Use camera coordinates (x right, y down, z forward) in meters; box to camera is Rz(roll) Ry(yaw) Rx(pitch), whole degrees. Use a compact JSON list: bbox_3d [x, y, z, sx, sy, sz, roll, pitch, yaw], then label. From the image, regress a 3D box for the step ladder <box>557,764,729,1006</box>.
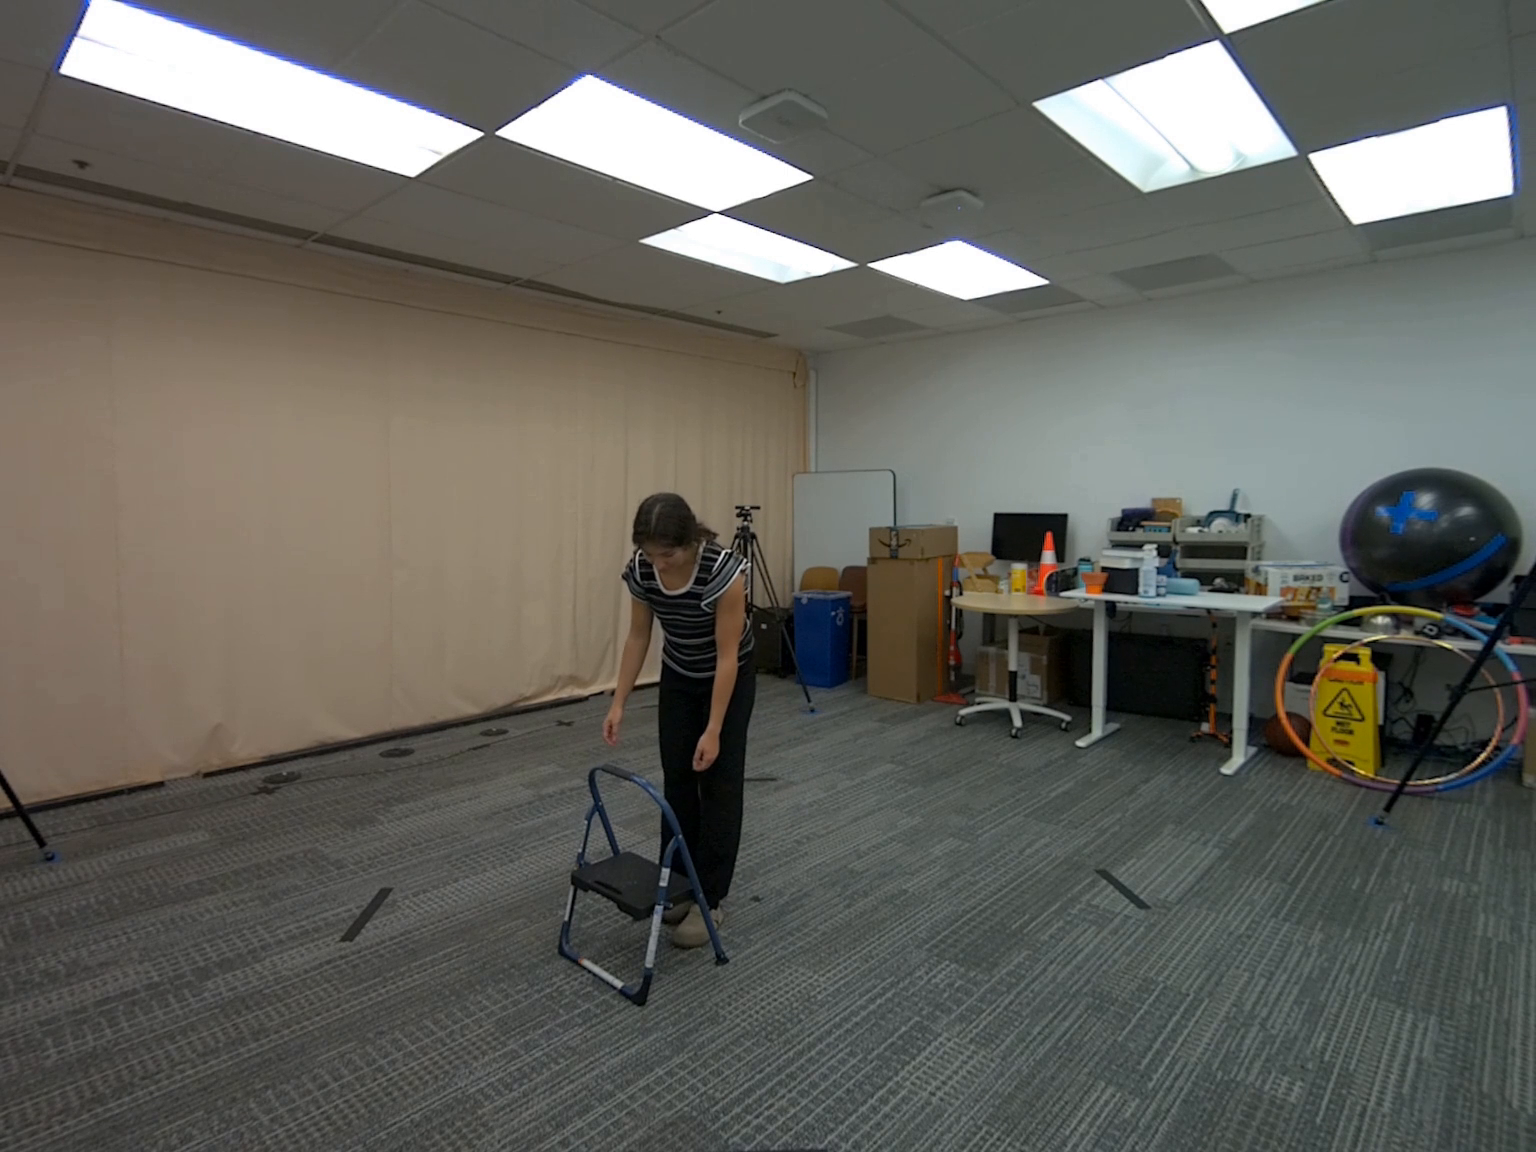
[{"bbox_3d":[-0.391,0.878,2.587,0.445,0.605,0.338,3,4,43],"label":"step ladder"}]
